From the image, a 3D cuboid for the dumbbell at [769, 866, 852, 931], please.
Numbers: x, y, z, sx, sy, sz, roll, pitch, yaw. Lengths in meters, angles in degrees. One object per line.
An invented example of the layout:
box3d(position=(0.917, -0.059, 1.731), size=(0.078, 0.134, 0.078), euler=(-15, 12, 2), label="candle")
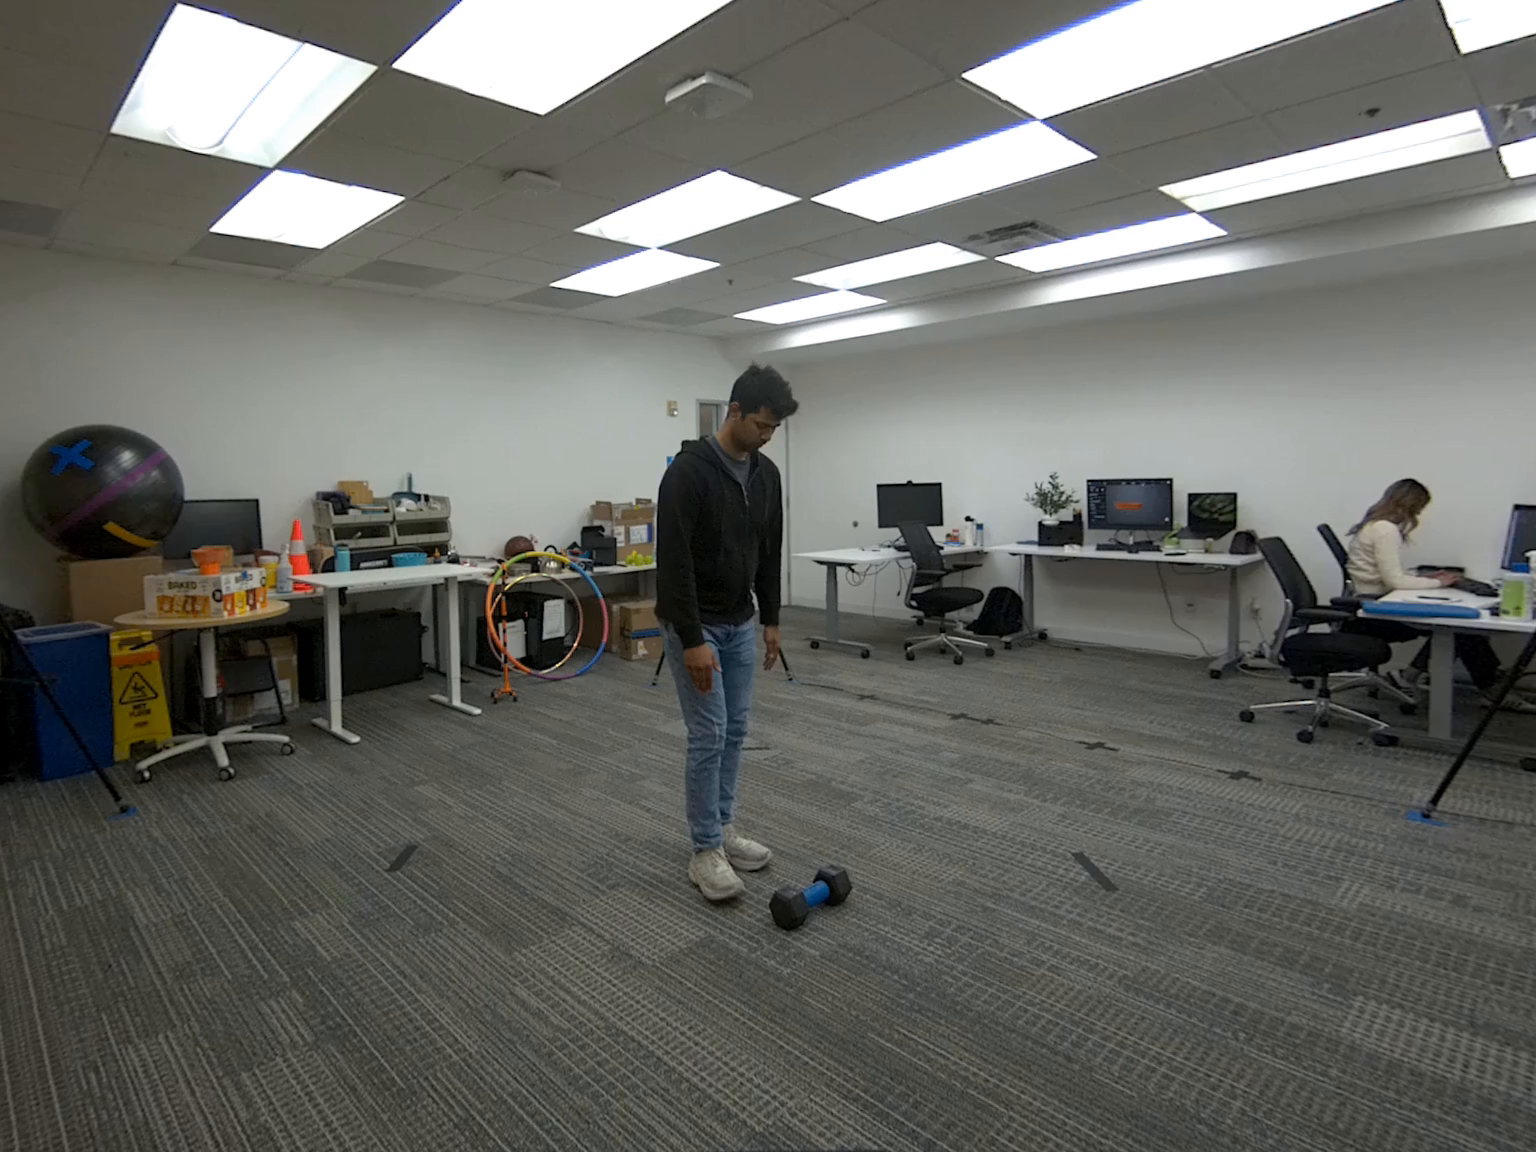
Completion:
box3d(position=(0.145, 1.030, 2.745), size=(0.286, 0.108, 0.127), euler=(-7, 7, -44), label="dumbbell")
